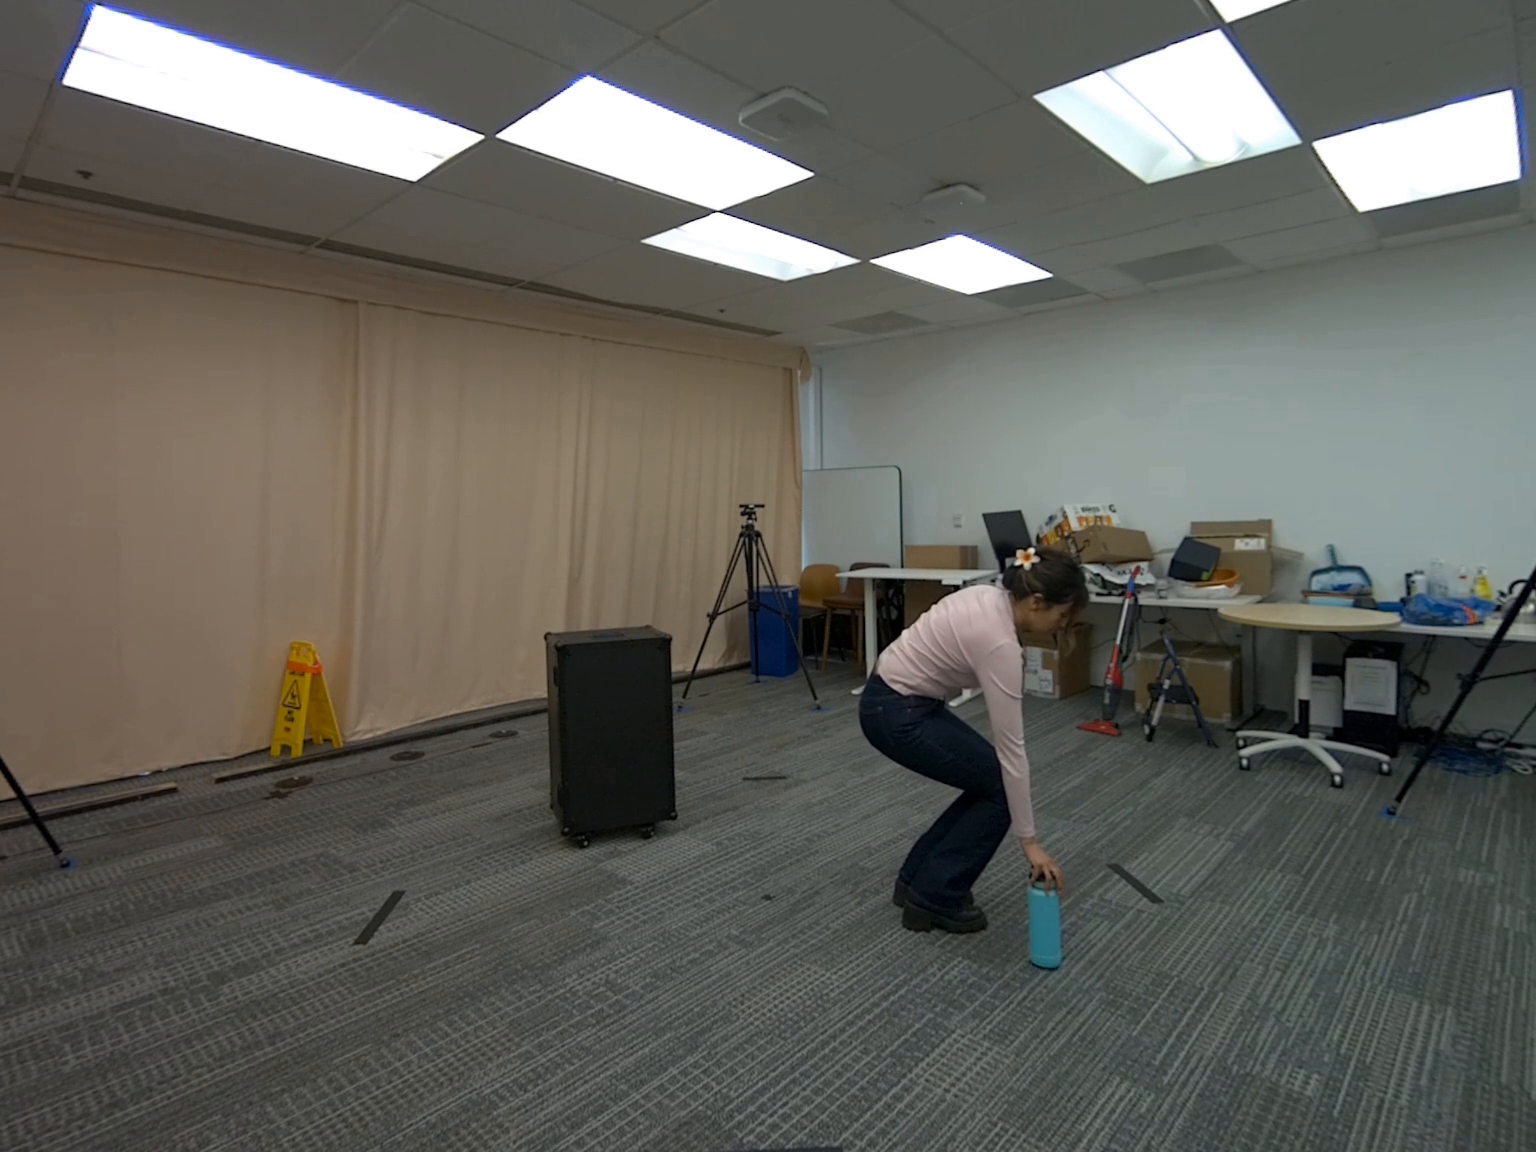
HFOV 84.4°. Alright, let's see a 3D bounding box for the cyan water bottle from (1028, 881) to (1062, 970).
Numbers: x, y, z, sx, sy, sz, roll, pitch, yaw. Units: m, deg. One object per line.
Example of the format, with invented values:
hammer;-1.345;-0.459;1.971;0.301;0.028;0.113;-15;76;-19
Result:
cyan water bottle;0.833;1.006;2.524;0.092;0.283;0.092;-2;2;-2
